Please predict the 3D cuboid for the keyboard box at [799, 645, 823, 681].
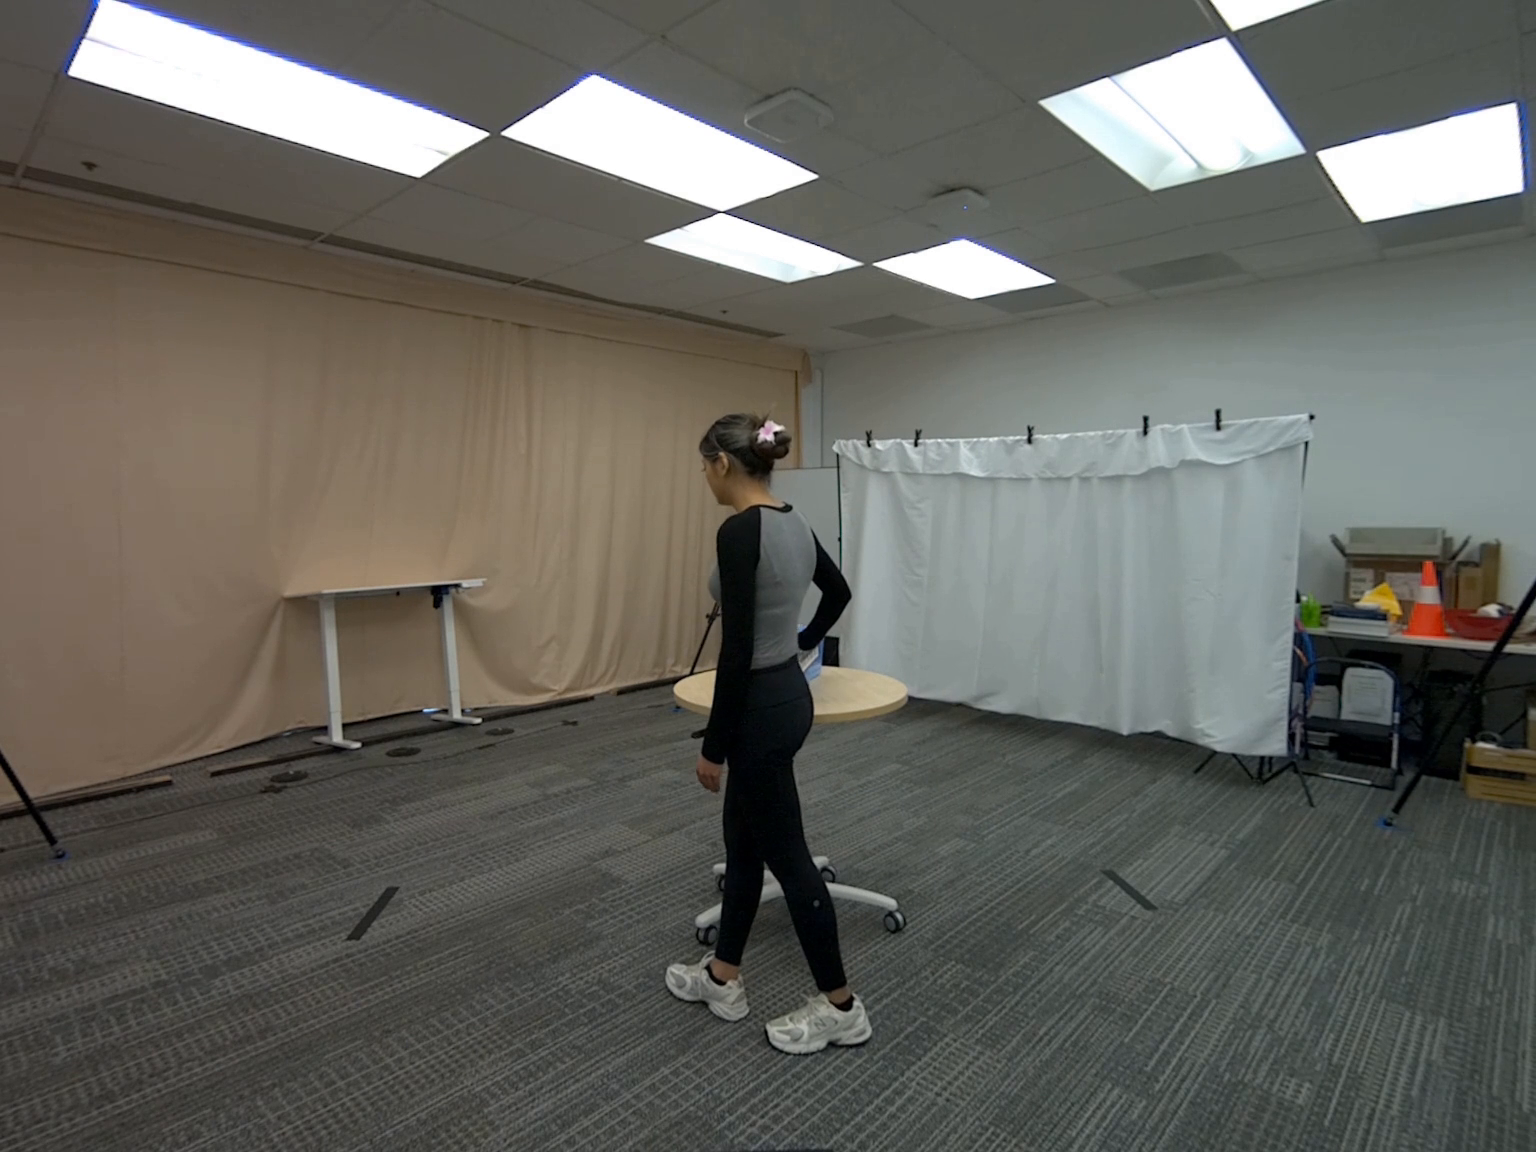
[{"bbox_3d":[0.093,0.279,2.789,0.060,0.175,0.428,8,8,21],"label":"keyboard box"}]
